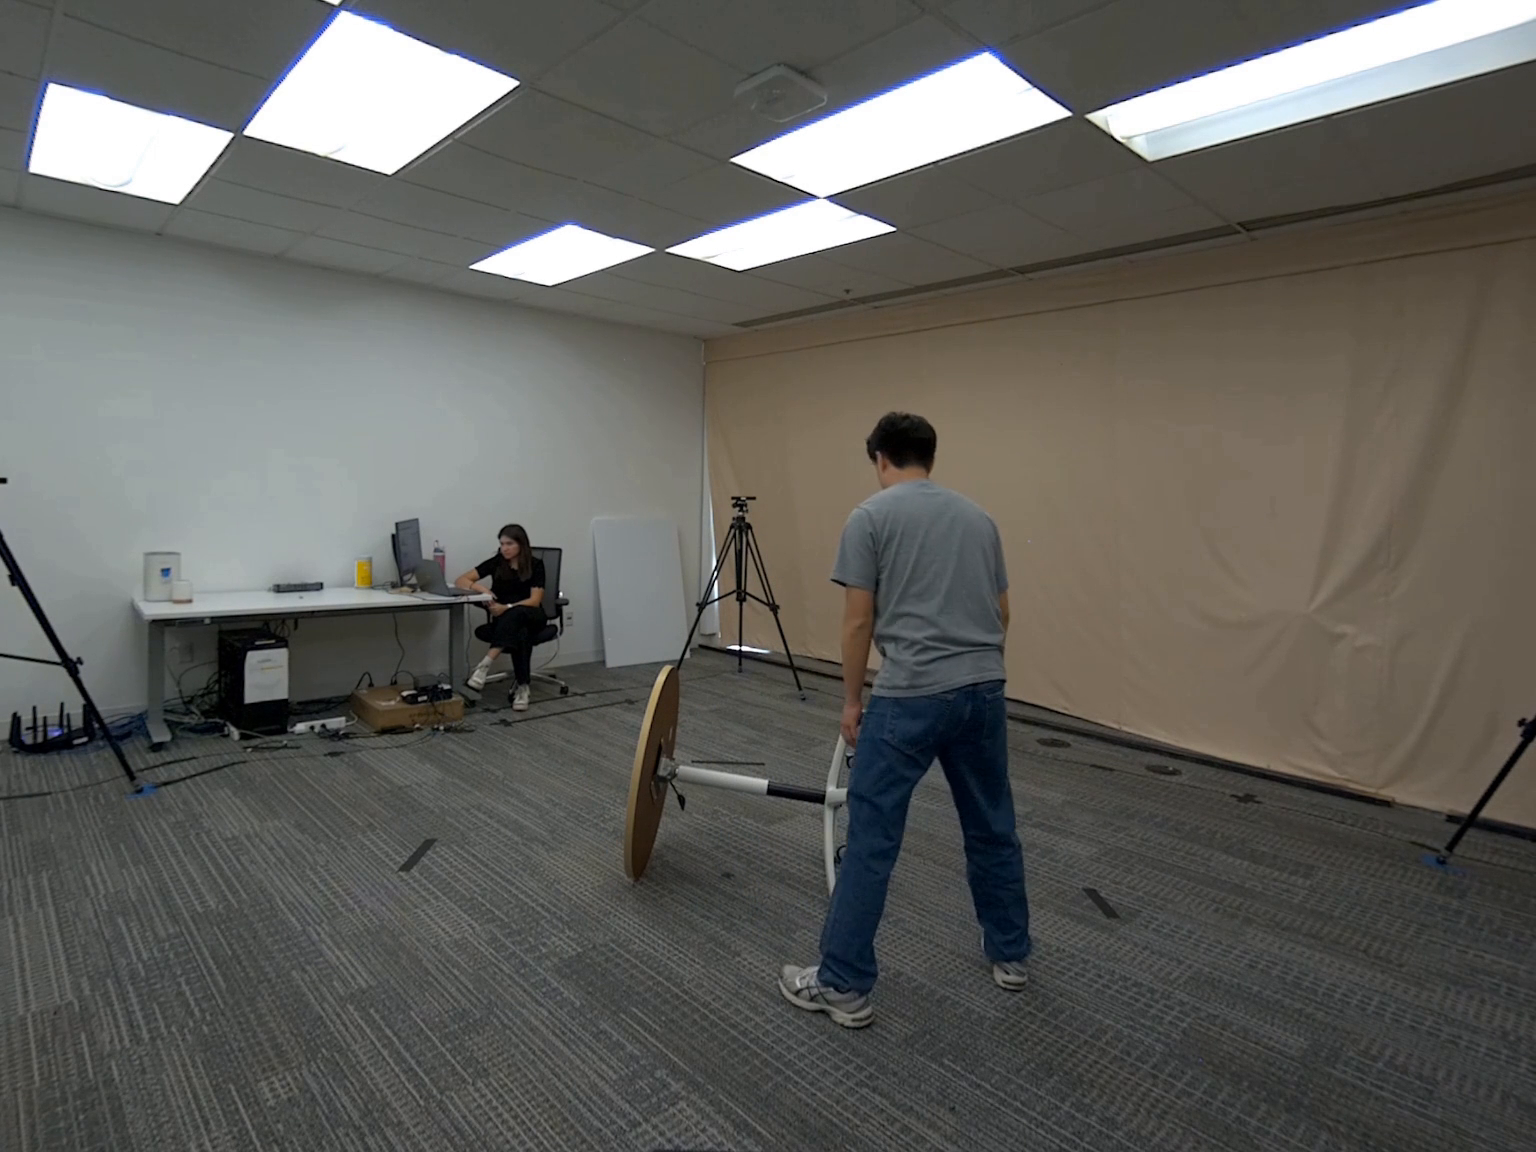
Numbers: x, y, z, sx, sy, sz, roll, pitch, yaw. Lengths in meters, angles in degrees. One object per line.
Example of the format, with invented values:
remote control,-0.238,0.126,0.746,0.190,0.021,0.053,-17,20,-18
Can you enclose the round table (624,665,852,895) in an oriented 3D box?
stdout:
round table,-0.048,0.776,3.088,0.797,0.762,0.763,8,5,4
